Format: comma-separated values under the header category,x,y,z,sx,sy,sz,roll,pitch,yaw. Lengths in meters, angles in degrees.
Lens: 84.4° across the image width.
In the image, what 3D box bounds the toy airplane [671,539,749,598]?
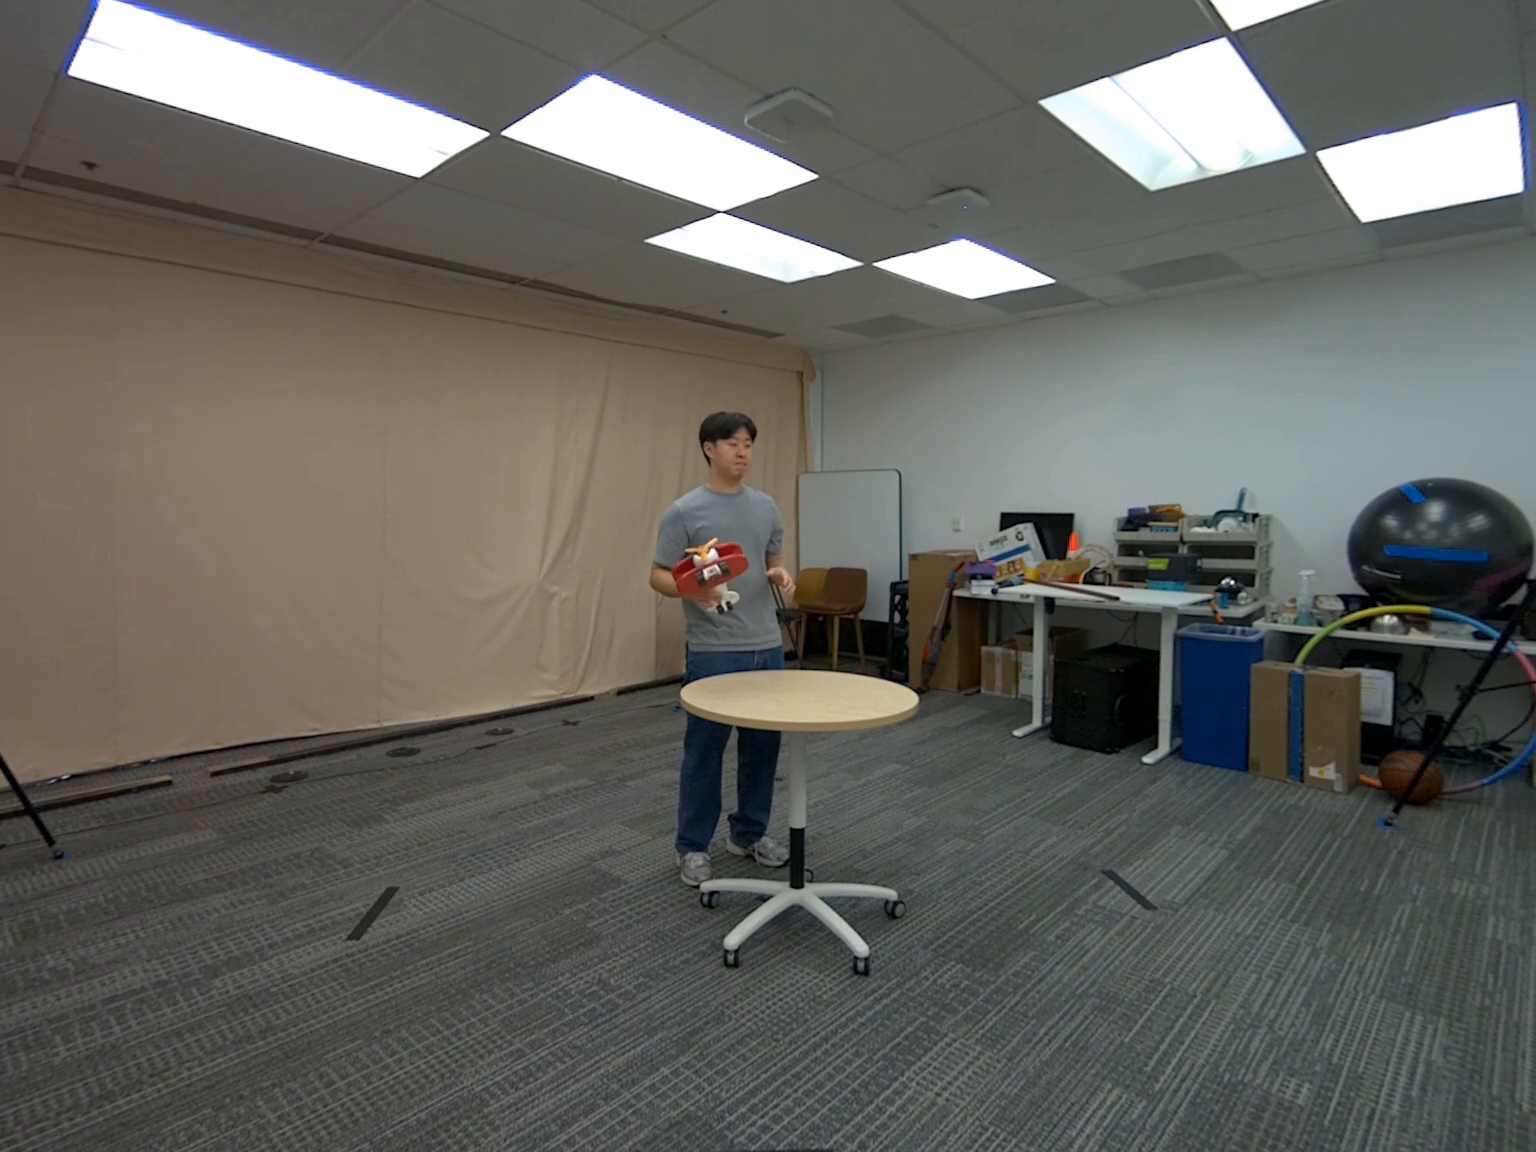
category,x,y,z,sx,sy,sz,roll,pitch,yaw
toy airplane,-0.187,-0.003,2.885,0.245,0.257,0.161,-3,45,-25
